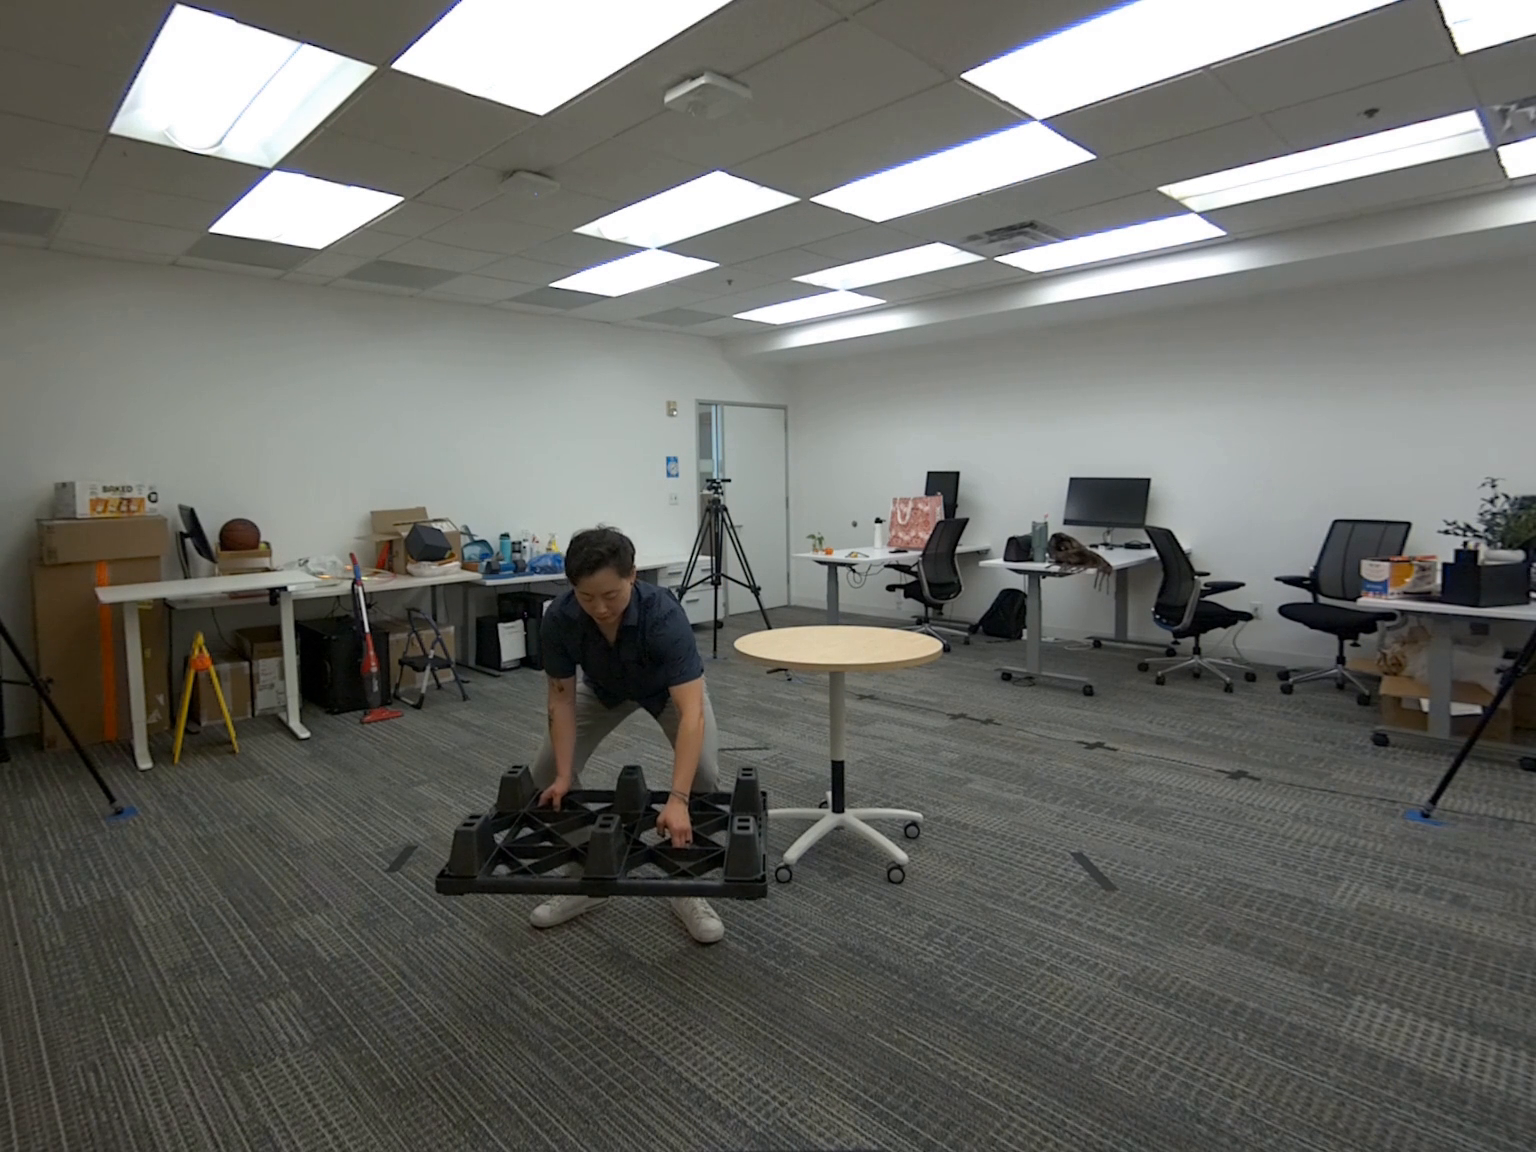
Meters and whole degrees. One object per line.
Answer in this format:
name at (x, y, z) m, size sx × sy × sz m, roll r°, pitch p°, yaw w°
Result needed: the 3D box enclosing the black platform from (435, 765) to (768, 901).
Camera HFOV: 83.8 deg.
black platform at (-0.402, 0.666, 2.292) m, size 0.807 × 0.142 × 0.607 m, roll -1°, pitch 7°, yaw 2°
